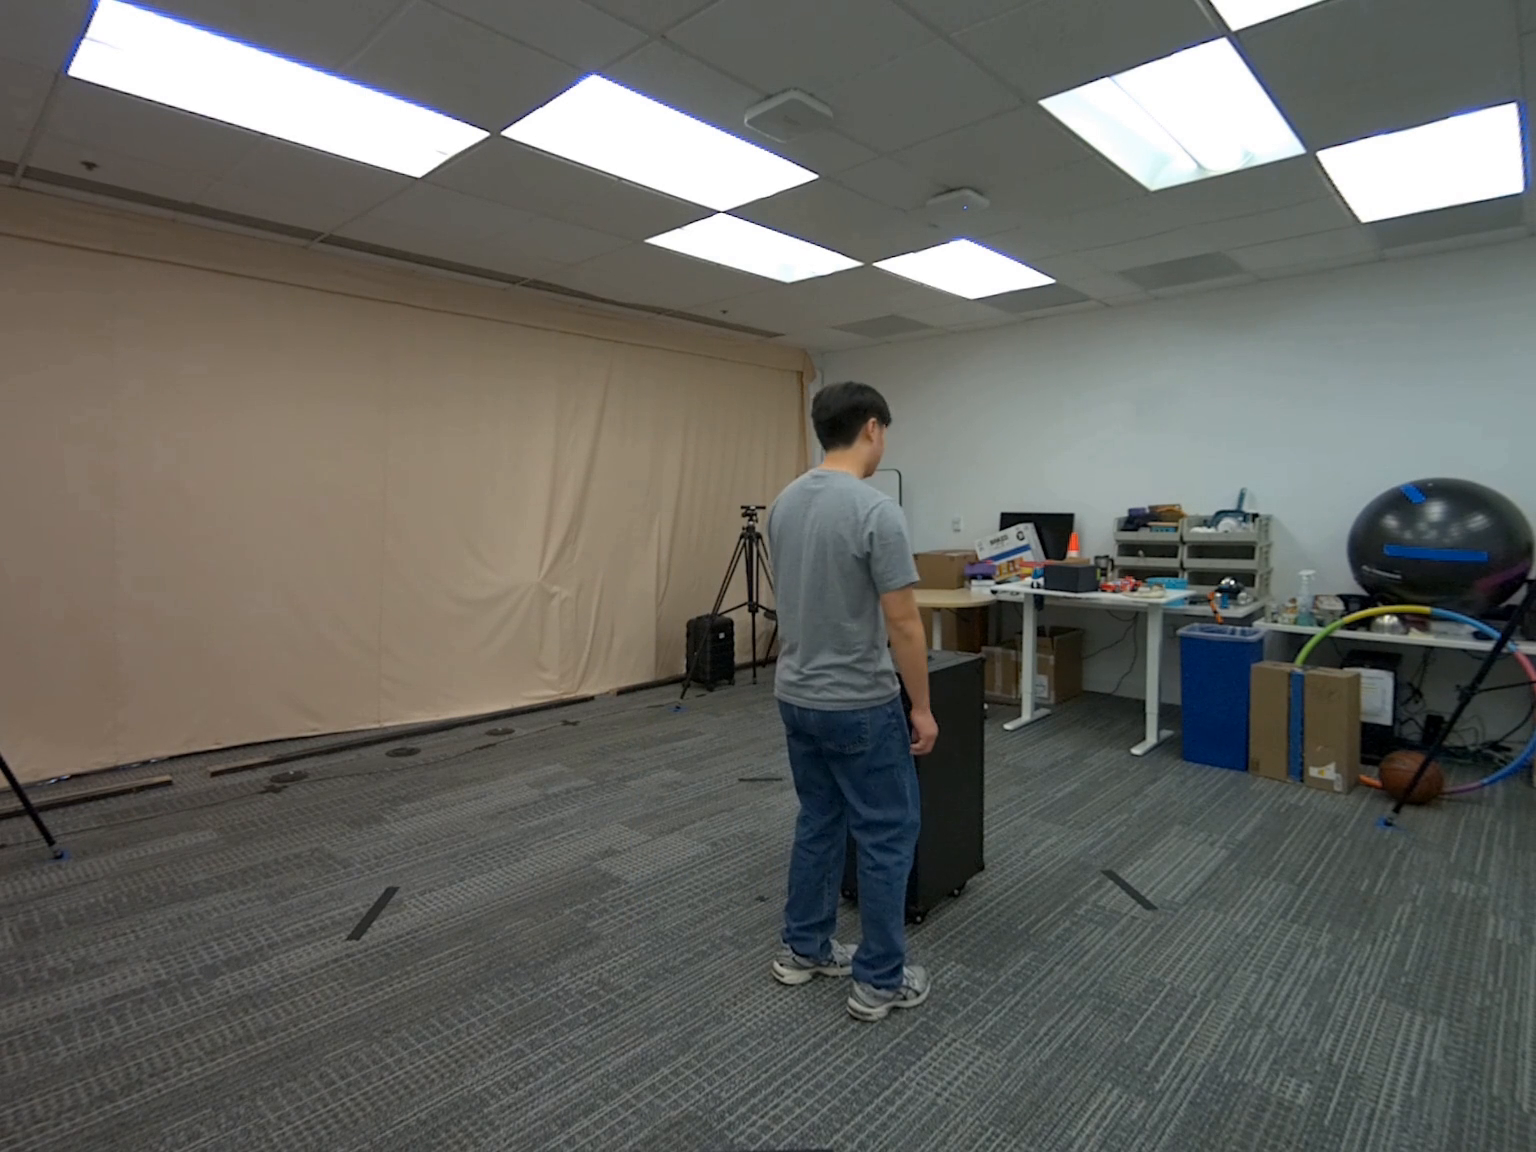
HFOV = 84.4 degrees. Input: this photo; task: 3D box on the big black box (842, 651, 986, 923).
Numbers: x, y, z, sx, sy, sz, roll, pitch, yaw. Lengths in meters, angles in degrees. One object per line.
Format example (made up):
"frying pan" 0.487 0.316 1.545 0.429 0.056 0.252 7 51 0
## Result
"big black box" 0.490 0.716 2.981 0.409 0.860 0.505 2 4 41
